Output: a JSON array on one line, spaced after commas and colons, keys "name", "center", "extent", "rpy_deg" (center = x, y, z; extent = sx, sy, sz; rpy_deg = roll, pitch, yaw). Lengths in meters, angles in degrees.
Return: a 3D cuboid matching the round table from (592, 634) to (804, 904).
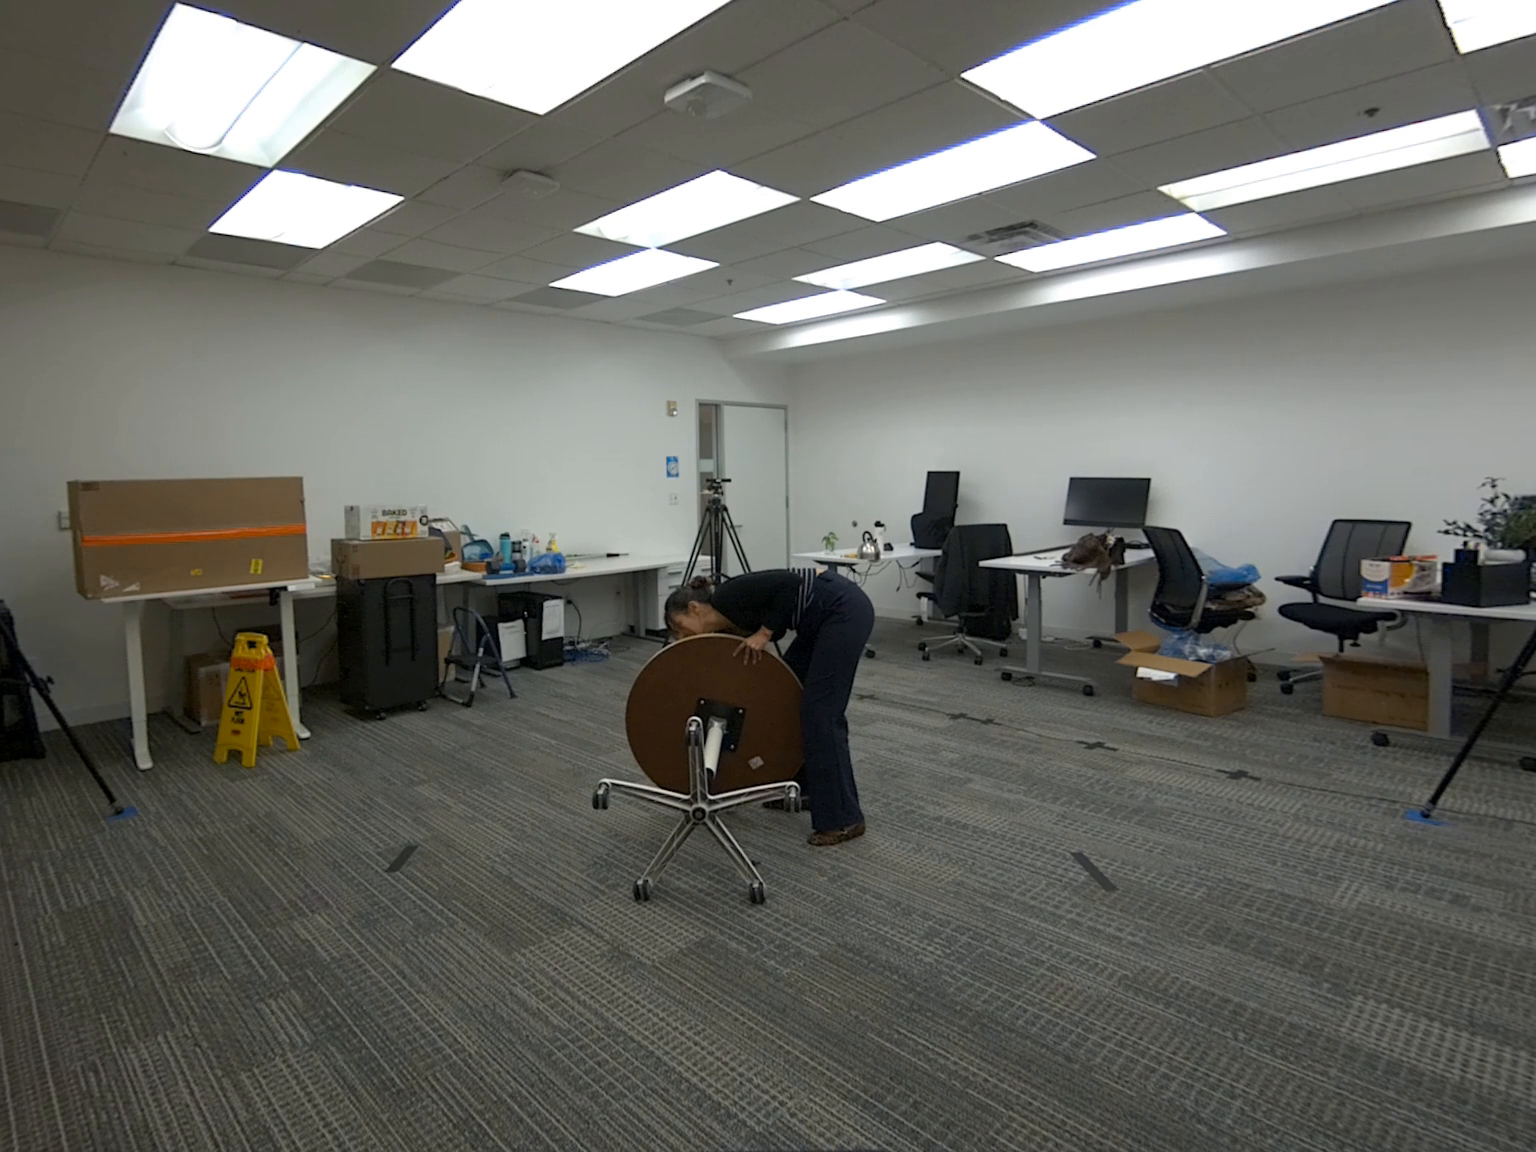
[{"name": "round table", "center": [-0.215, 0.713, 3.138], "extent": [0.767, 0.754, 0.801], "rpy_deg": [-1, 14, 3]}]
